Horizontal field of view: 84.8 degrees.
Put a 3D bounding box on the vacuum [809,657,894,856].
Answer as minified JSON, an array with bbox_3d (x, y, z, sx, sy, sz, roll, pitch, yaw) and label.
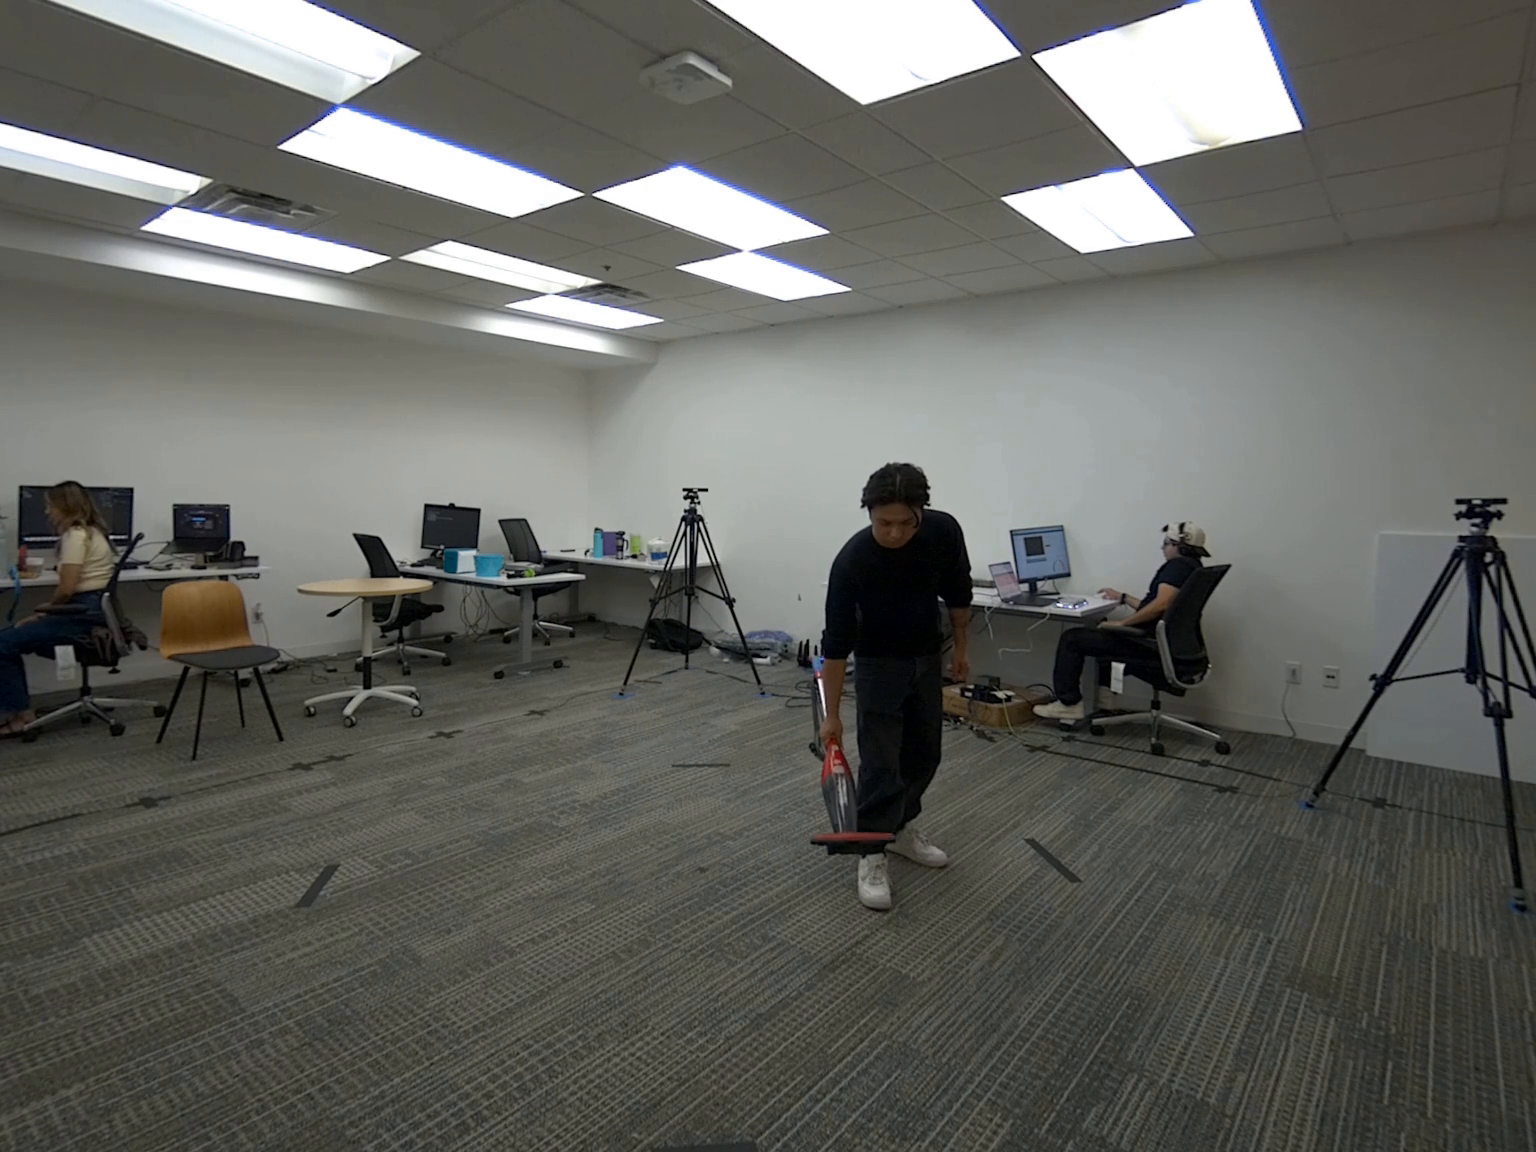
[{"bbox_3d":[0.212,0.584,3.050,0.251,0.141,1.074,3,26,-5],"label":"vacuum"}]
